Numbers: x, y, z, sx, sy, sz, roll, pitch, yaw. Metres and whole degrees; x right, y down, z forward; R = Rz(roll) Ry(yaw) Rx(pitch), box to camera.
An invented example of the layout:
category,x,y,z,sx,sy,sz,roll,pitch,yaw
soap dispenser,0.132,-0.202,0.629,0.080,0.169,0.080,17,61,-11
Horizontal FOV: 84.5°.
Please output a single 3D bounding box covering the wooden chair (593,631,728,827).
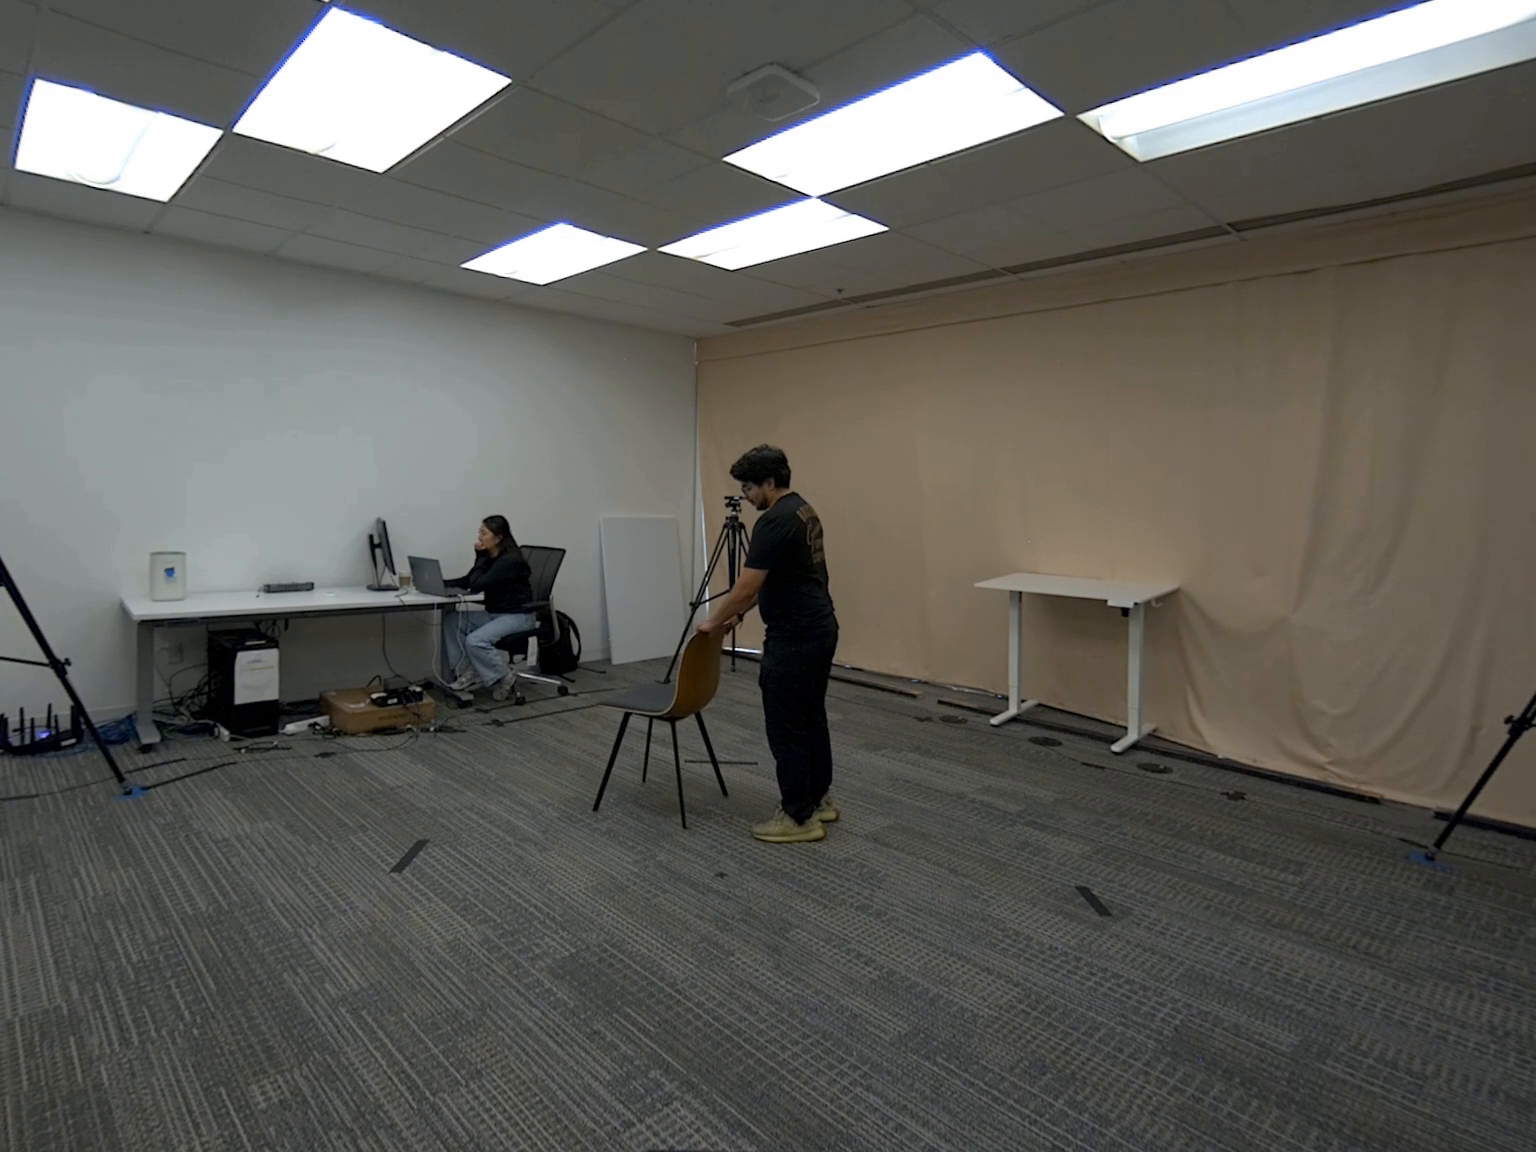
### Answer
category,x,y,z,sx,sy,sz,roll,pitch,yaw
wooden chair,-0.481,0.603,3.774,0.533,0.874,0.471,7,6,22
